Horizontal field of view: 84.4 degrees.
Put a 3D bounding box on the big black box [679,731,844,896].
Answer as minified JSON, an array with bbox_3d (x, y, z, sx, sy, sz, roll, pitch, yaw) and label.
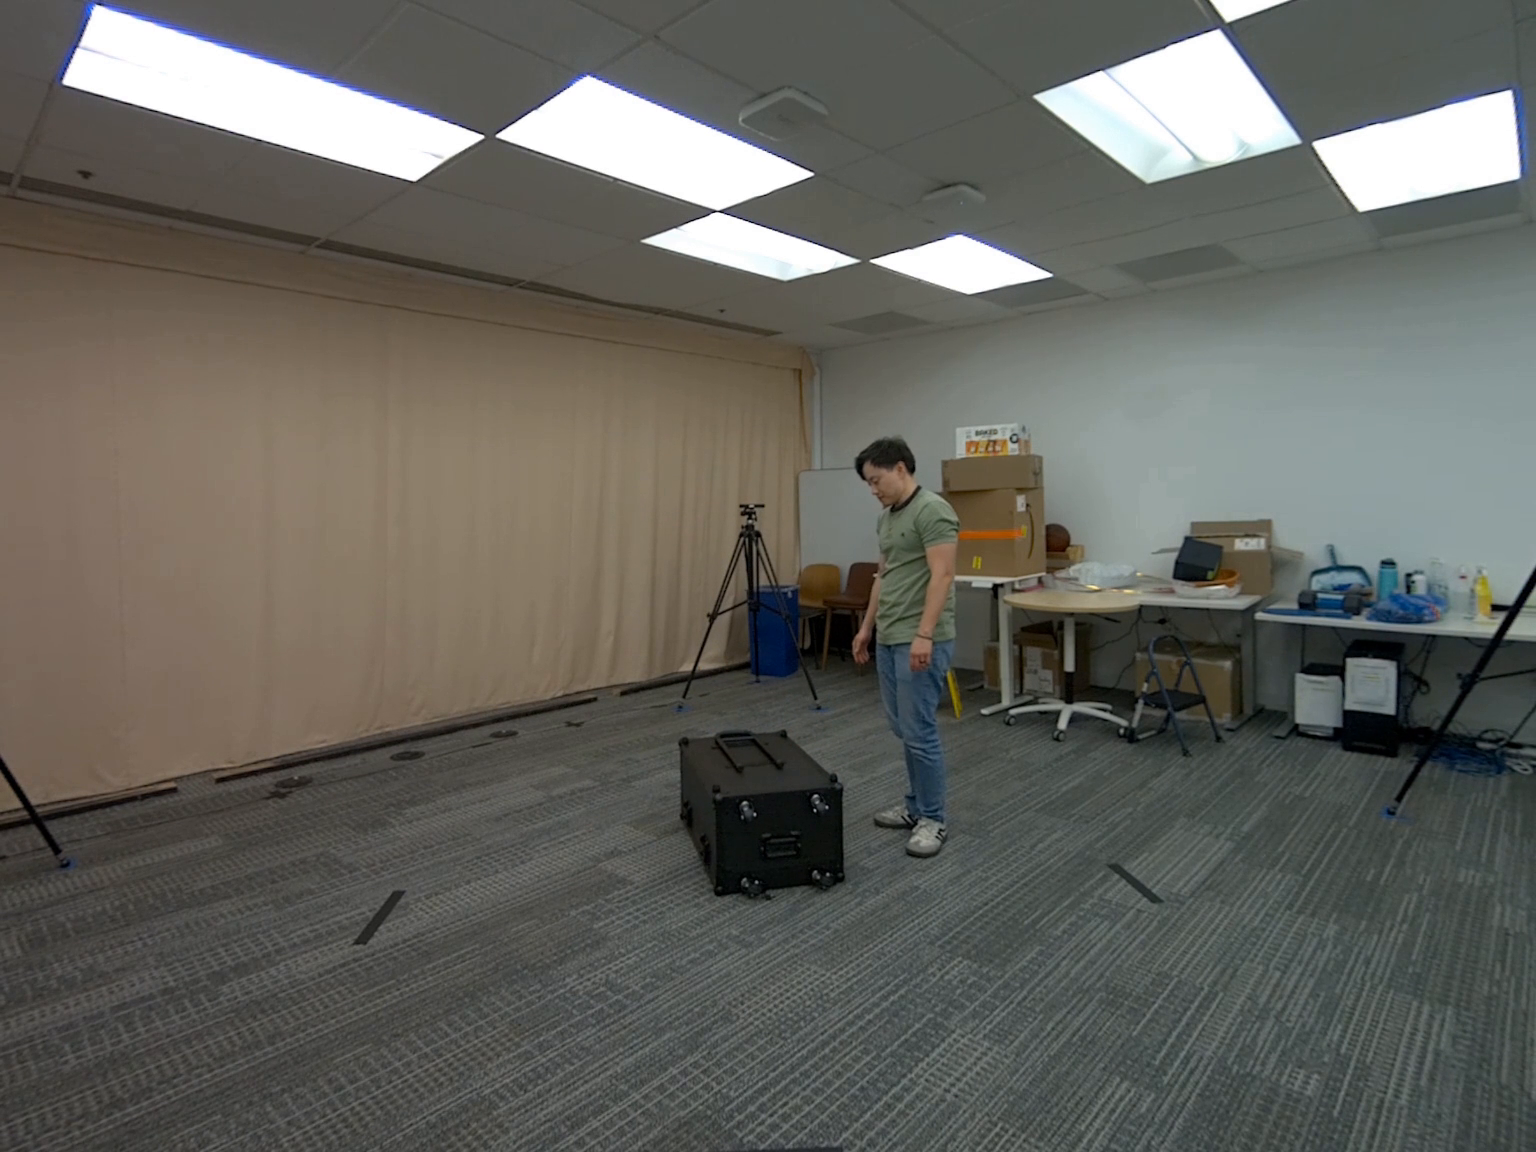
[{"bbox_3d":[-0.042,0.913,3.381,0.514,0.395,0.876,-2,6,-14],"label":"big black box"}]
